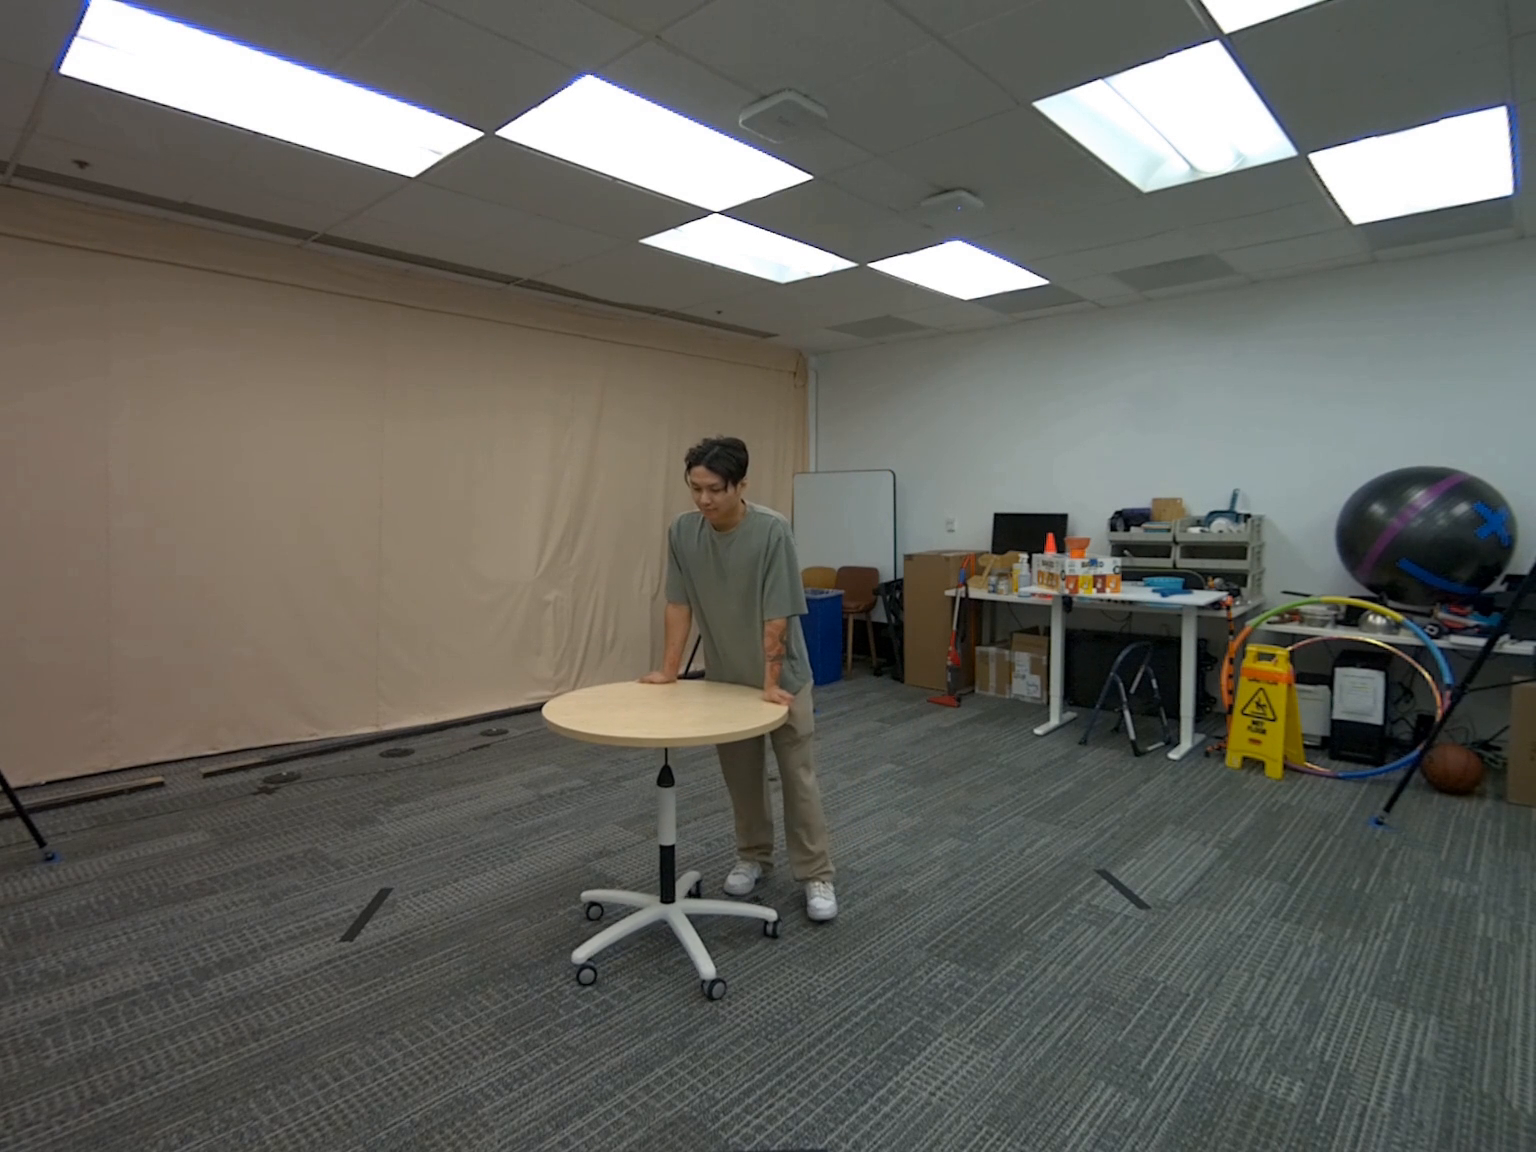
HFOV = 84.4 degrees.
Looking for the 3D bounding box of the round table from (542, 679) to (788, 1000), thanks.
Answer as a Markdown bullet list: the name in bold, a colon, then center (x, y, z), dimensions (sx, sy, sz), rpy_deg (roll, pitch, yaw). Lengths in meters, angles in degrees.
- **round table**: center (-0.326, 0.785, 2.673), dimensions (0.784, 0.785, 0.788), rpy_deg (0, 3, -2)
